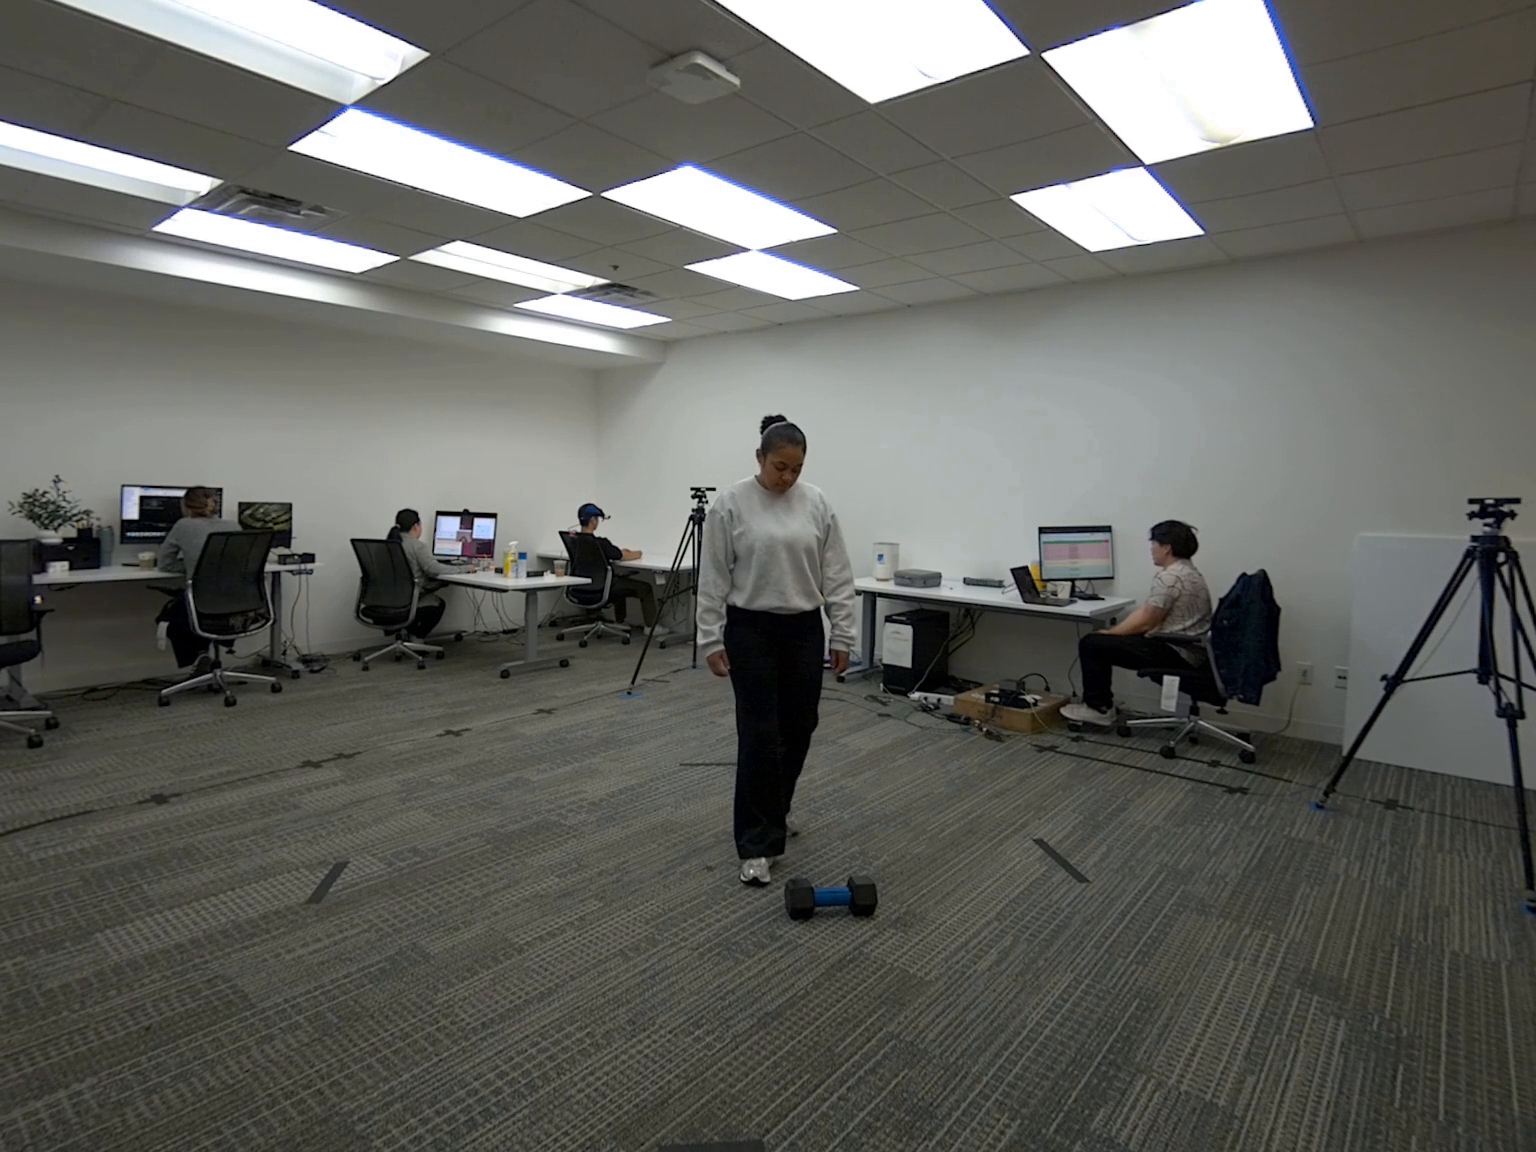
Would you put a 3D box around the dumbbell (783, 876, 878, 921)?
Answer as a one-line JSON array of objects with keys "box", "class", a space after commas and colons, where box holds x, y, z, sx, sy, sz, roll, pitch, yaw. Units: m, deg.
[{"box": [0.200, 1.051, 2.797, 0.290, 0.120, 0.112, 0, 35, -10], "class": "dumbbell"}]
